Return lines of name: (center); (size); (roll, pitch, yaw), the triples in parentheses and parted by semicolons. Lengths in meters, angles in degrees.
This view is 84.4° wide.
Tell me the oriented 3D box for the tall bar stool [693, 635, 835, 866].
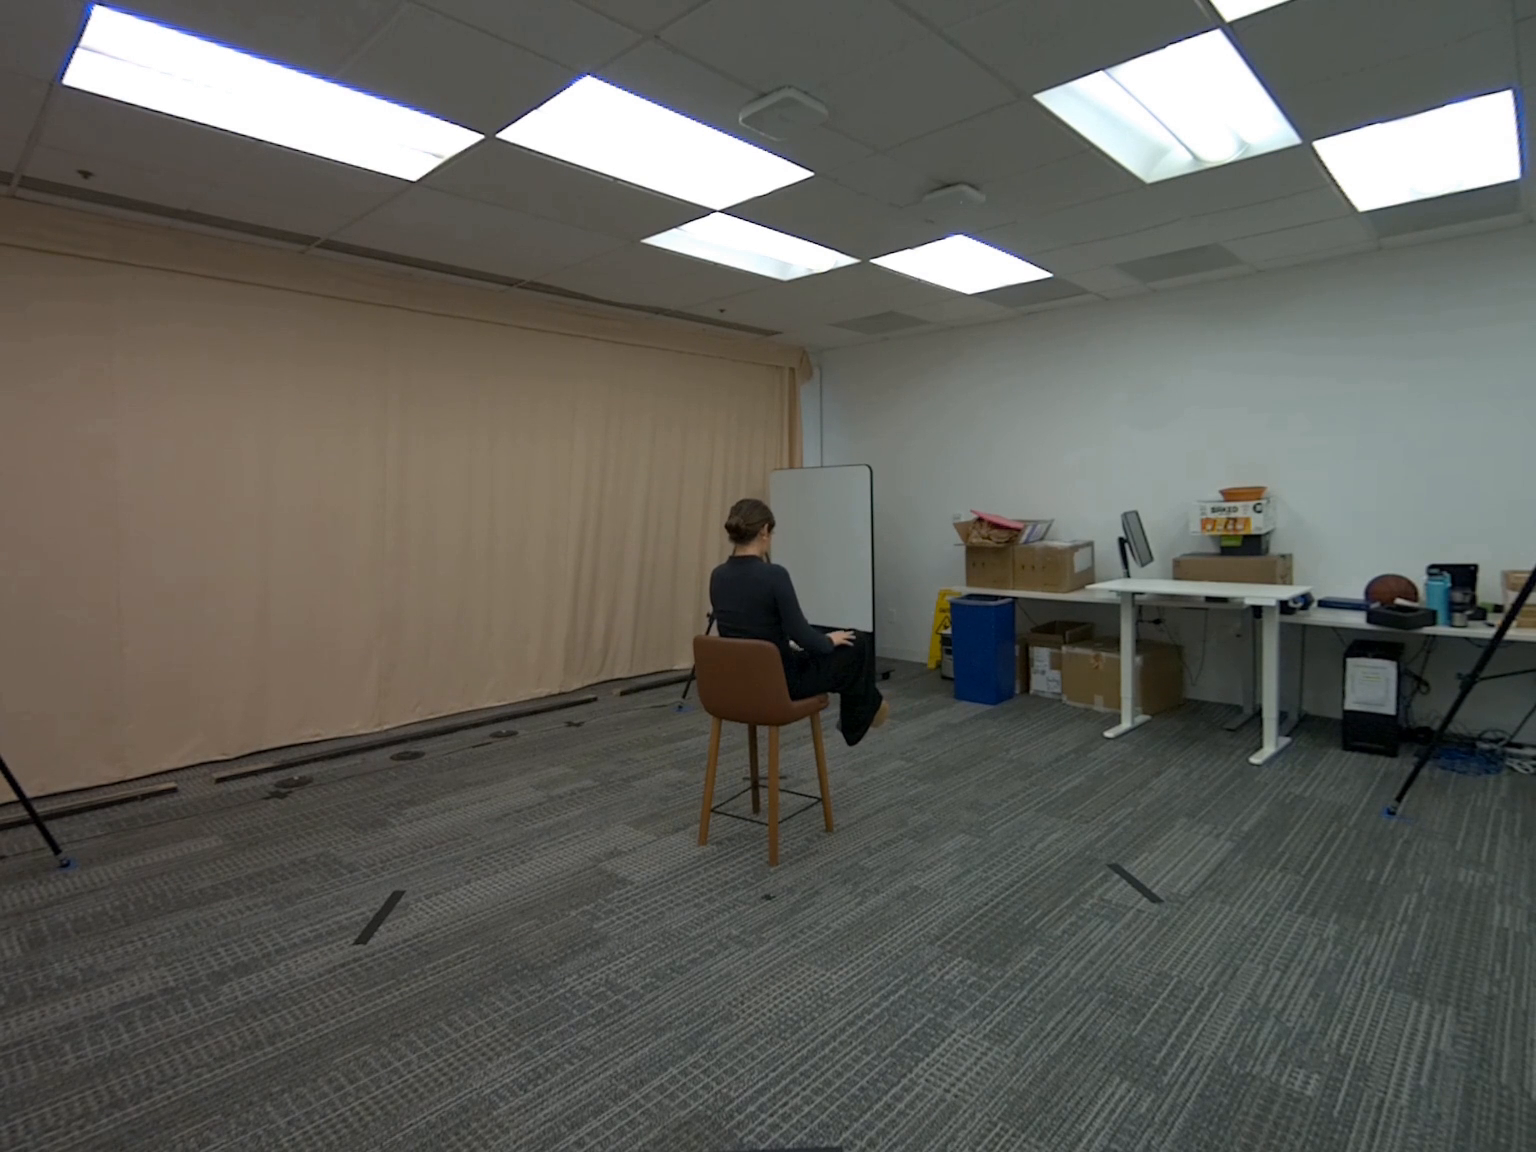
tall bar stool: (-0.021, 0.662, 3.499); (0.471, 0.887, 0.454); (1, 5, 35)
